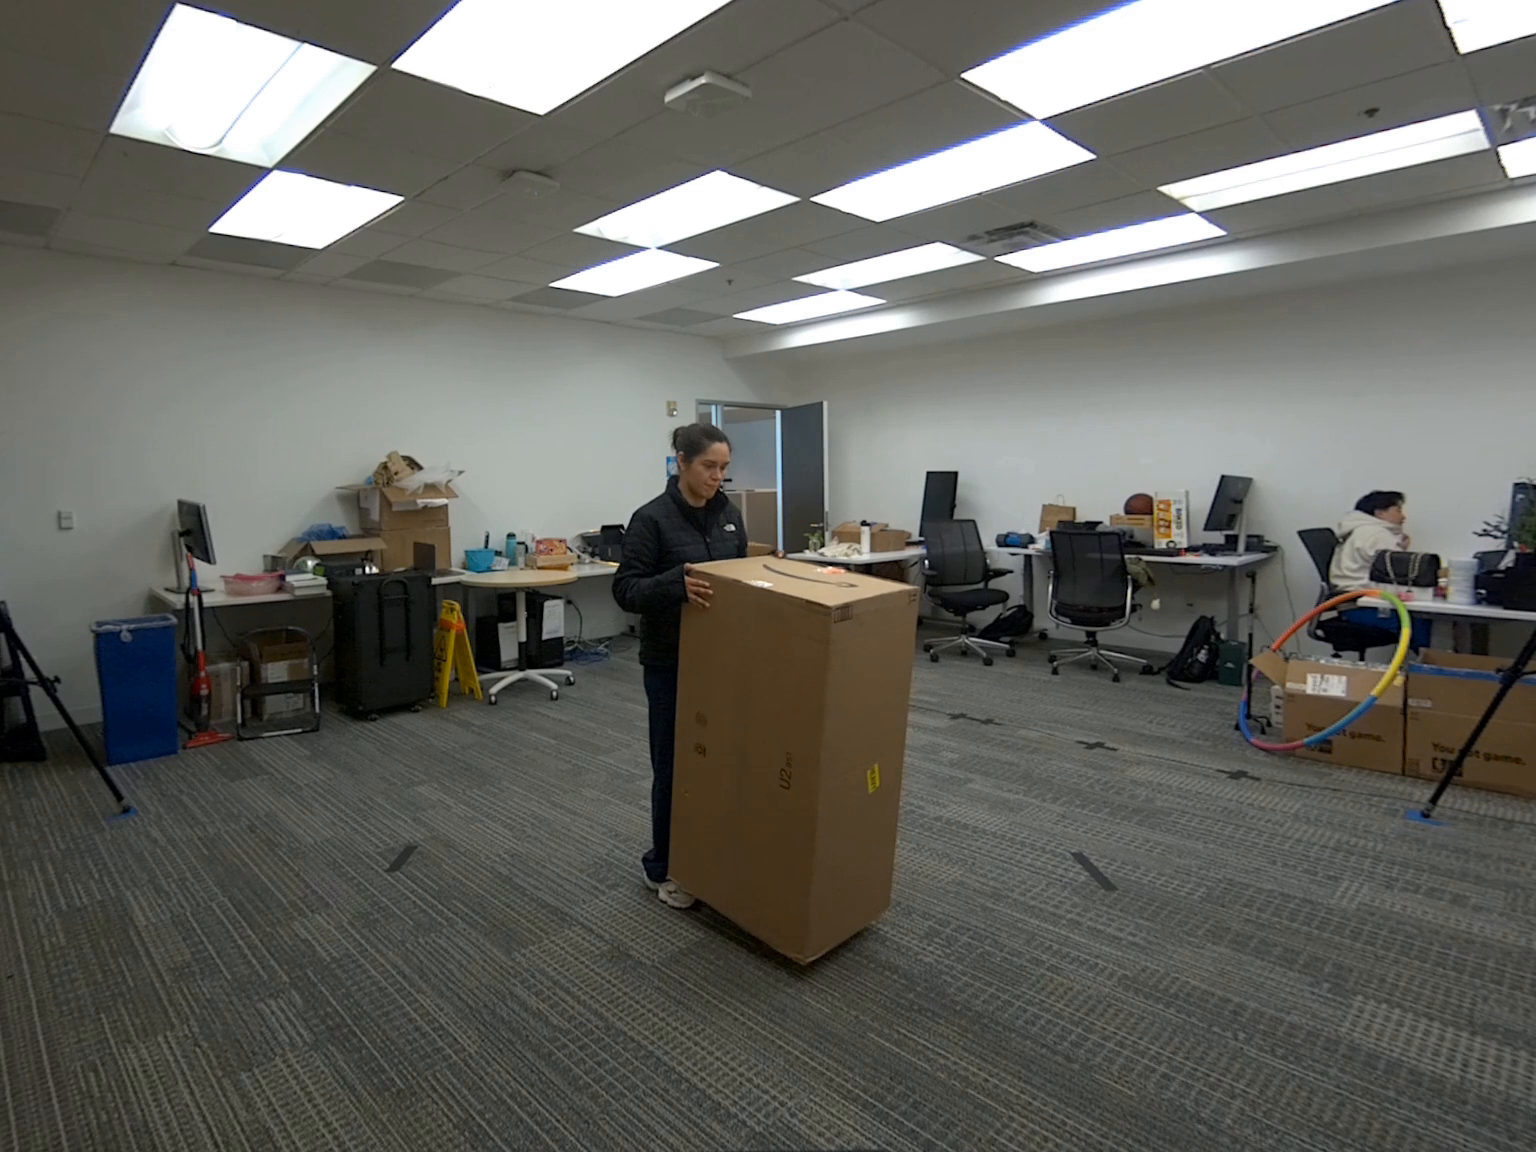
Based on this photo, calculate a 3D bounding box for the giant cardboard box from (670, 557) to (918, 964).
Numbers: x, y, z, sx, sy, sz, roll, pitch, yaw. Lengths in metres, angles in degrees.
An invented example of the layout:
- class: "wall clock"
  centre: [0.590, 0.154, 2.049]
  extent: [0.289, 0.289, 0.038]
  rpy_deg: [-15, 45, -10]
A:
- class: "giant cardboard box"
  centre: [0.069, 0.508, 2.621]
  extent: [0.597, 1.018, 0.415]
  rpy_deg: [12, 13, 42]
